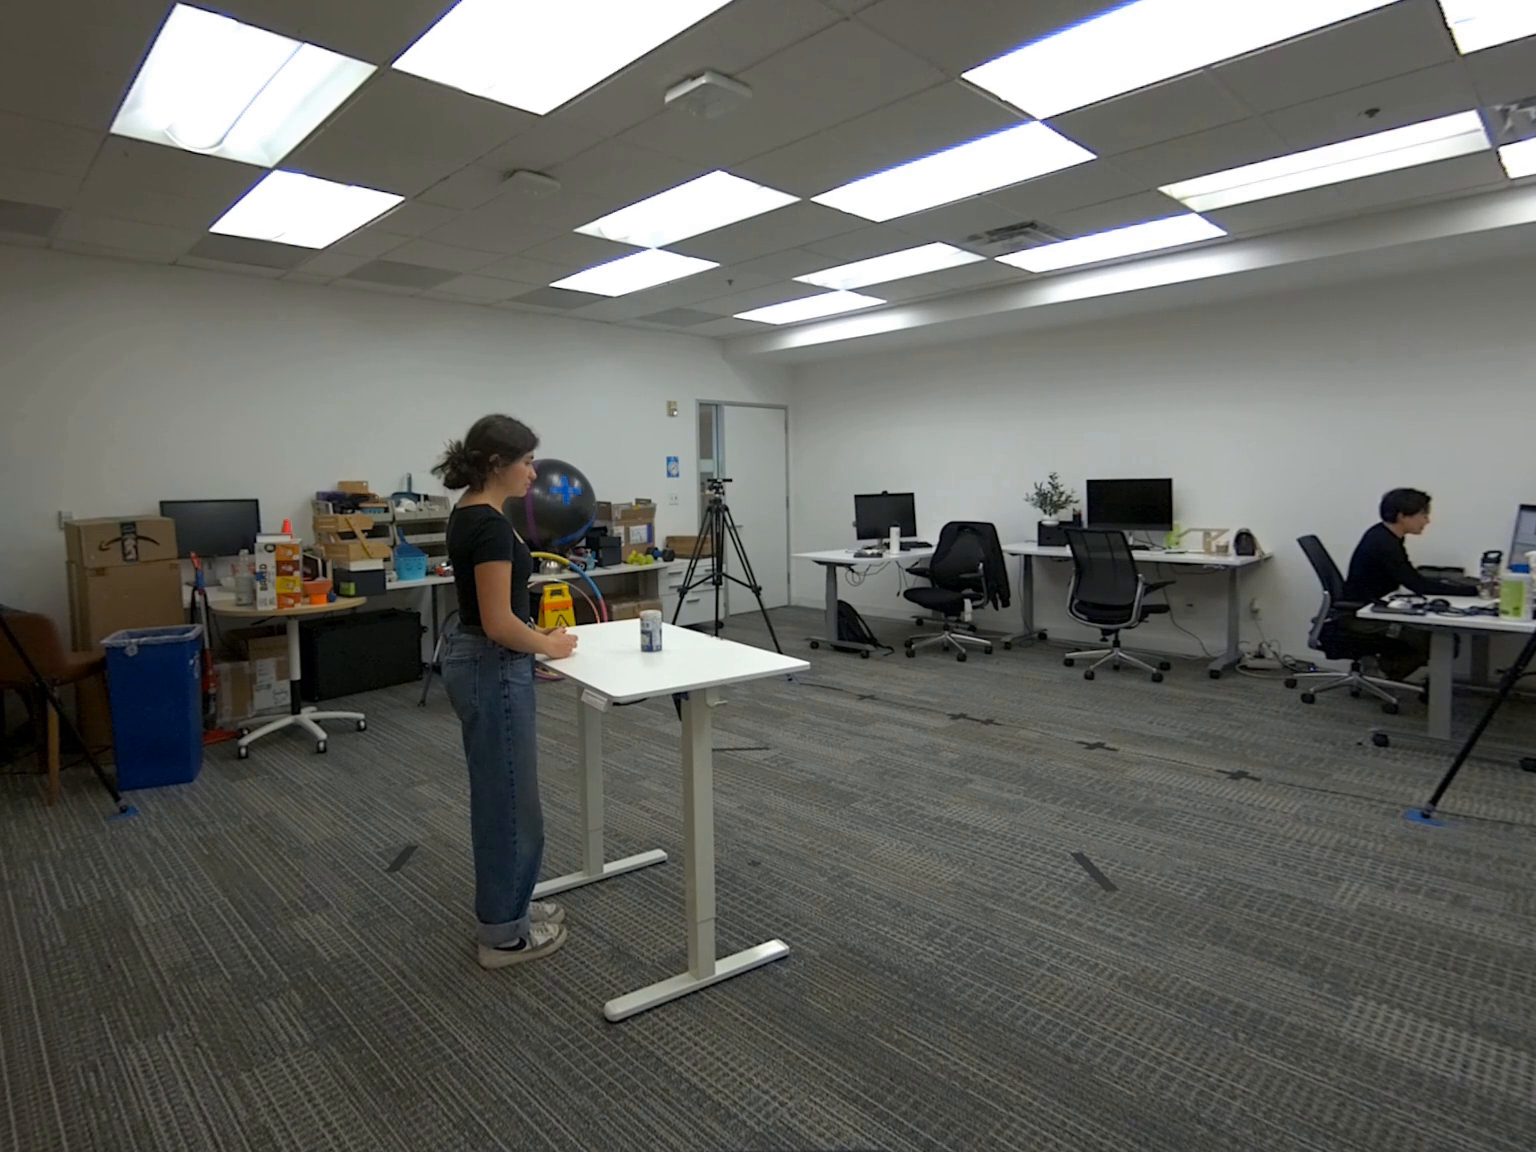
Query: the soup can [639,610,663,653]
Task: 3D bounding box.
[{"bbox_3d":[-0.350,0.170,2.596,0.067,0.121,0.067,-2,6,-1],"label":"soup can"}]
